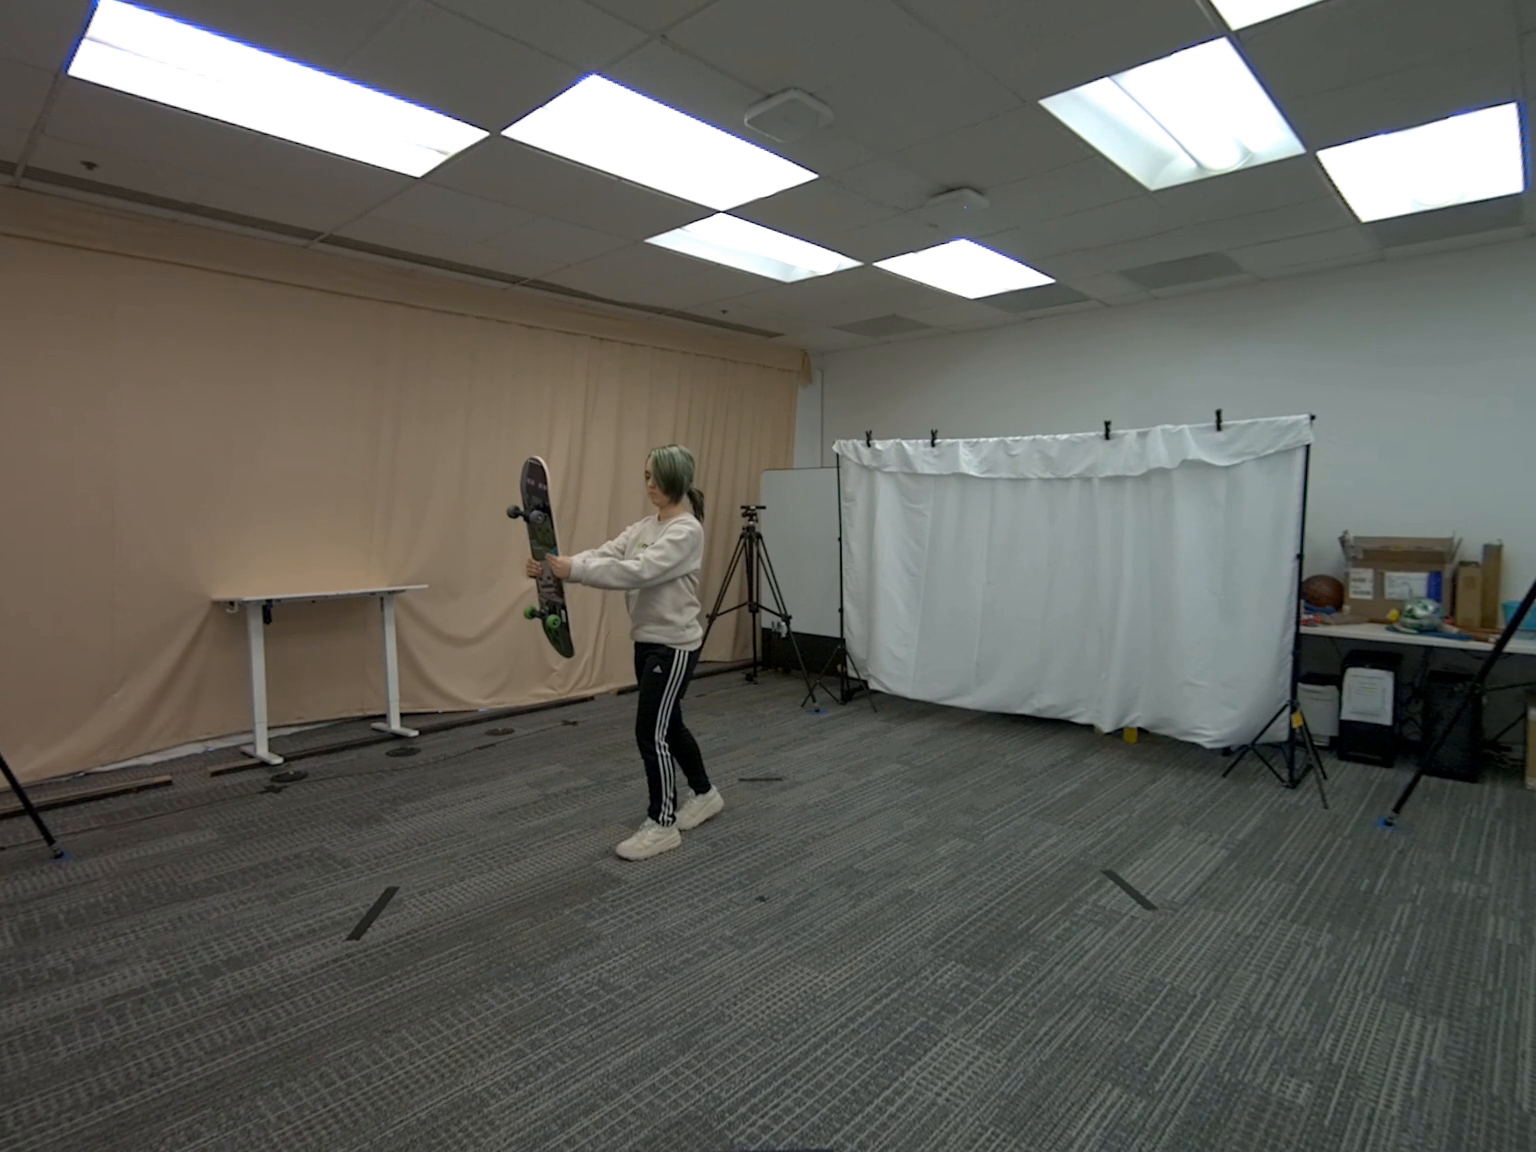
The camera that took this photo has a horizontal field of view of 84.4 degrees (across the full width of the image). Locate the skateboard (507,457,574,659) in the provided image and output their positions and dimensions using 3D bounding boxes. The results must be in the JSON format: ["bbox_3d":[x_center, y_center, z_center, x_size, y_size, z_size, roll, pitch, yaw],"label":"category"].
[{"bbox_3d":[-0.837,-0.039,3.104,0.200,0.776,0.108,14,24,43],"label":"skateboard"}]
